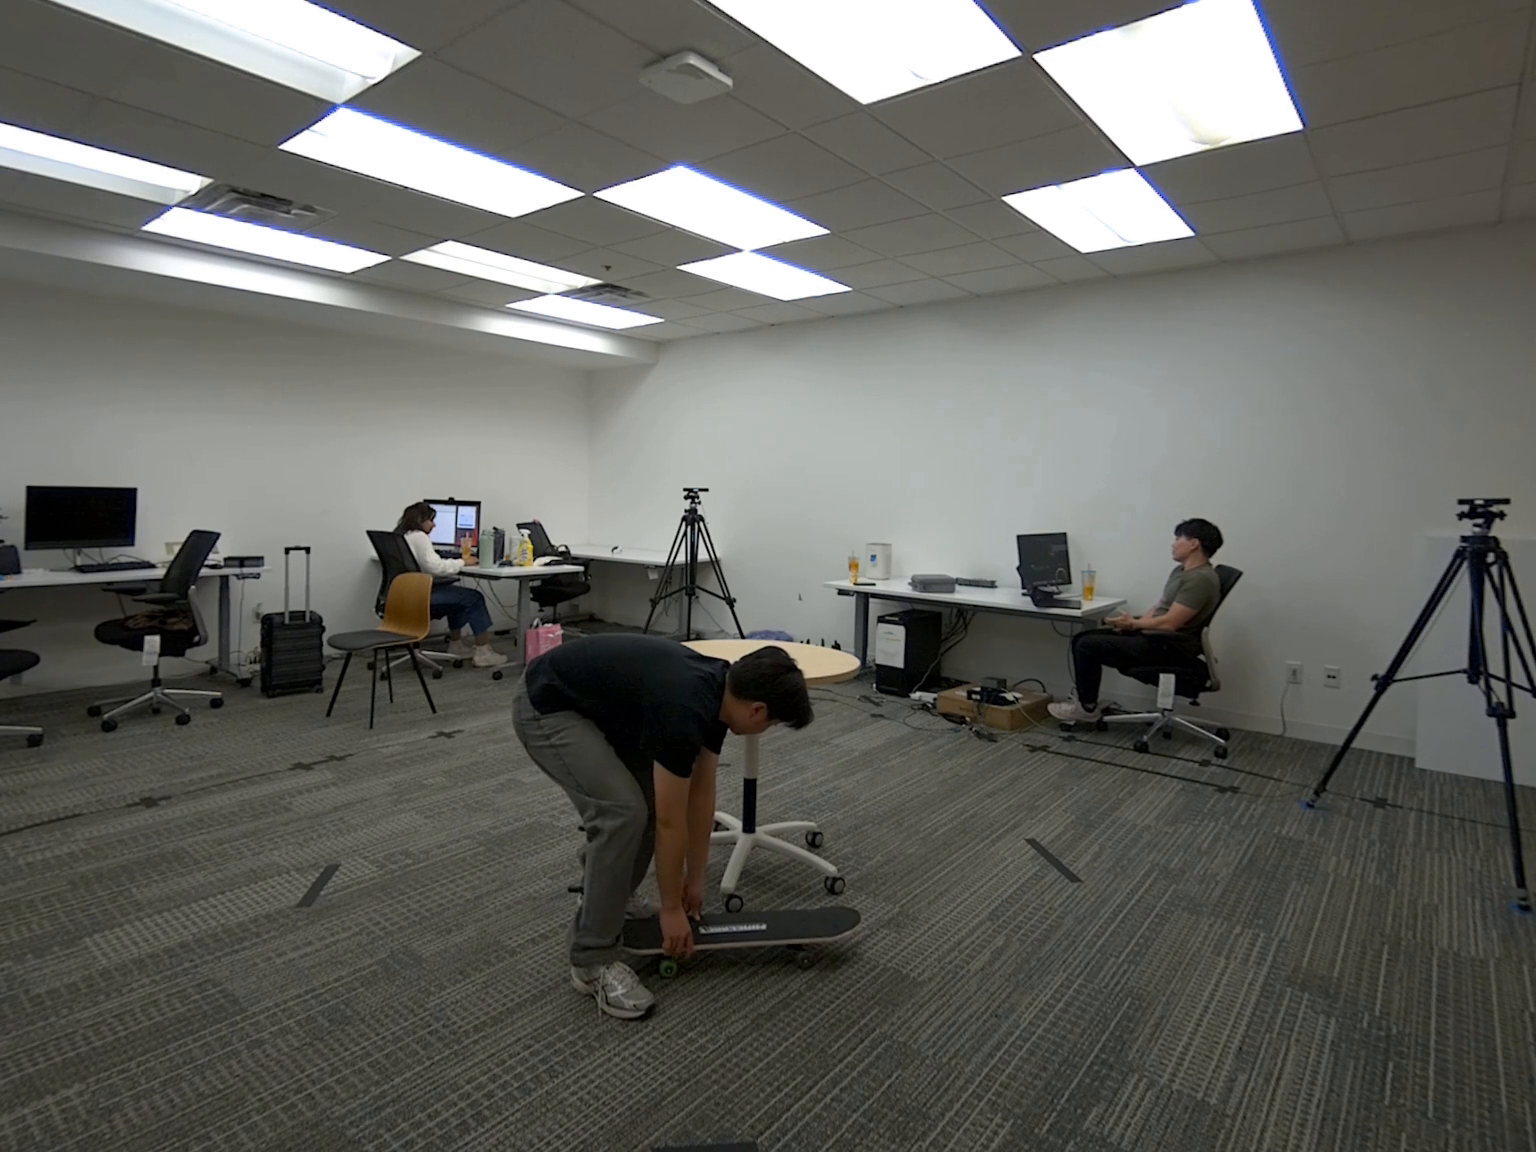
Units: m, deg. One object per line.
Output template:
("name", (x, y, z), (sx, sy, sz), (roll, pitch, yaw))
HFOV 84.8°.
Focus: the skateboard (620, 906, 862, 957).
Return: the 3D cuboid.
("skateboard", (-0.122, 1.060, 2.531), (0.778, 0.110, 0.196), (0, 4, -8))
